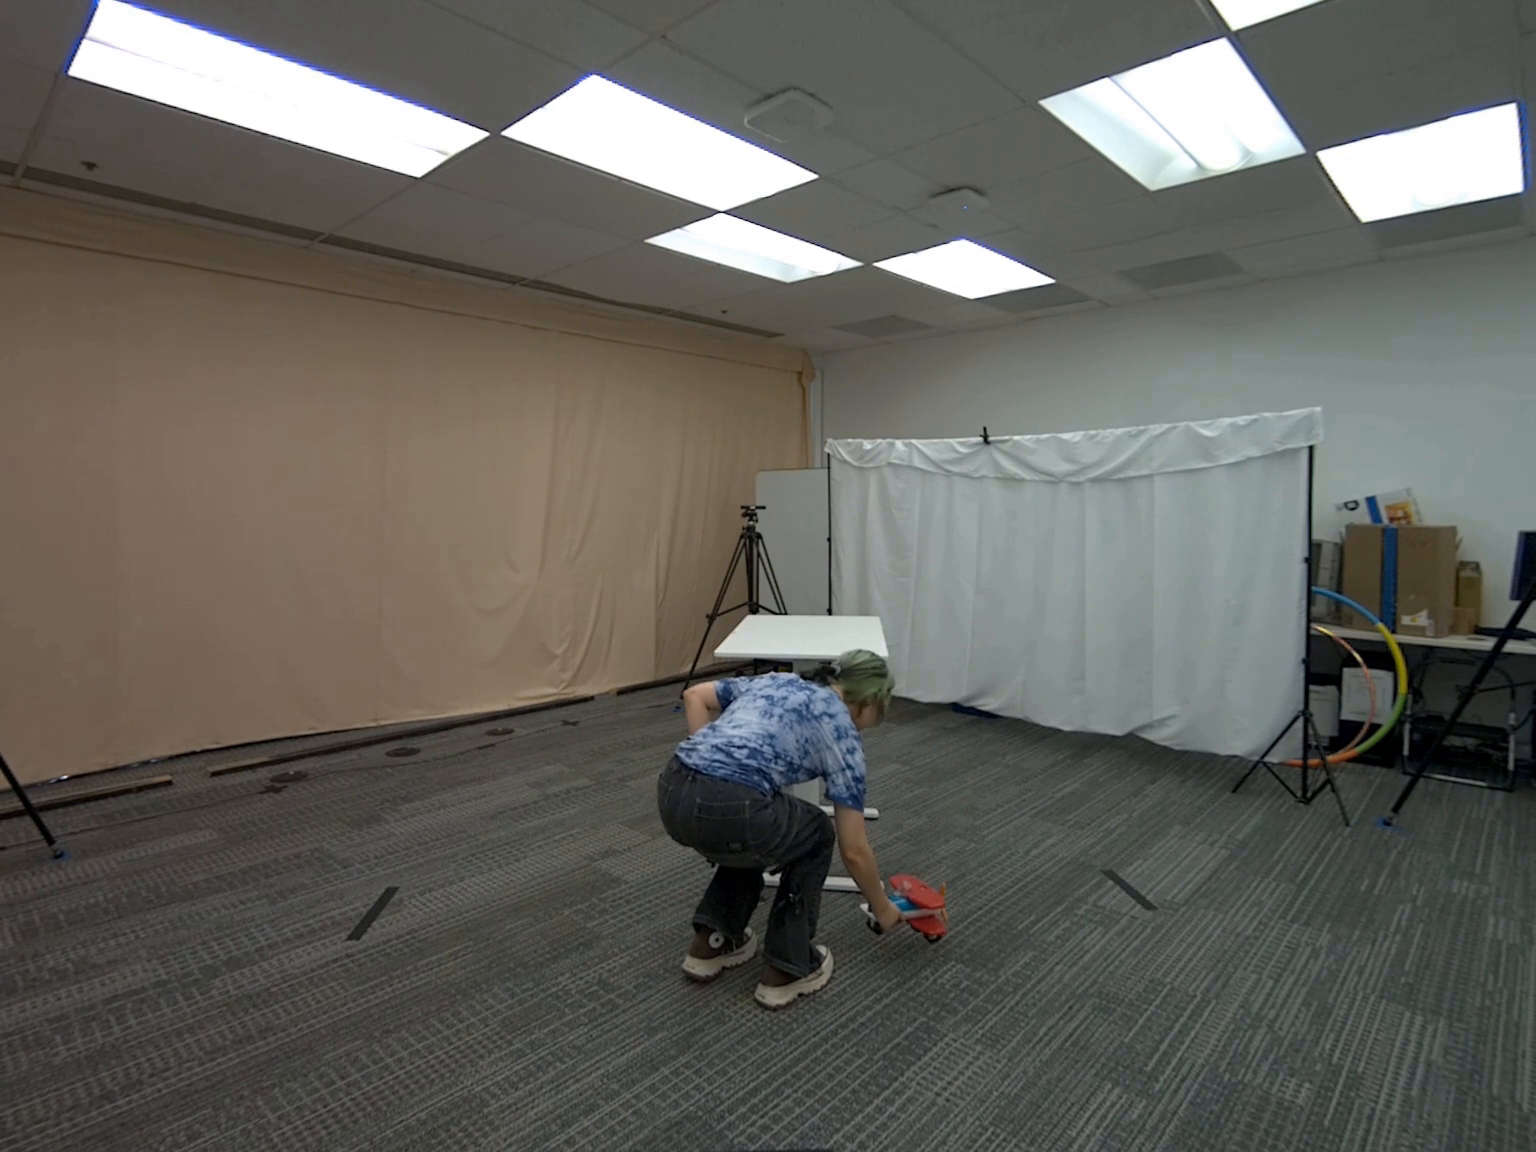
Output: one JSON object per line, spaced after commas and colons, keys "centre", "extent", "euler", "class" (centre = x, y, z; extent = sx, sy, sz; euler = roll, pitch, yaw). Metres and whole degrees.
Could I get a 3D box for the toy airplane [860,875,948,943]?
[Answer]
{"centre": [0.438, 1.038, 2.591], "extent": [0.260, 0.157, 0.250], "euler": [8, -6, 42], "class": "toy airplane"}
